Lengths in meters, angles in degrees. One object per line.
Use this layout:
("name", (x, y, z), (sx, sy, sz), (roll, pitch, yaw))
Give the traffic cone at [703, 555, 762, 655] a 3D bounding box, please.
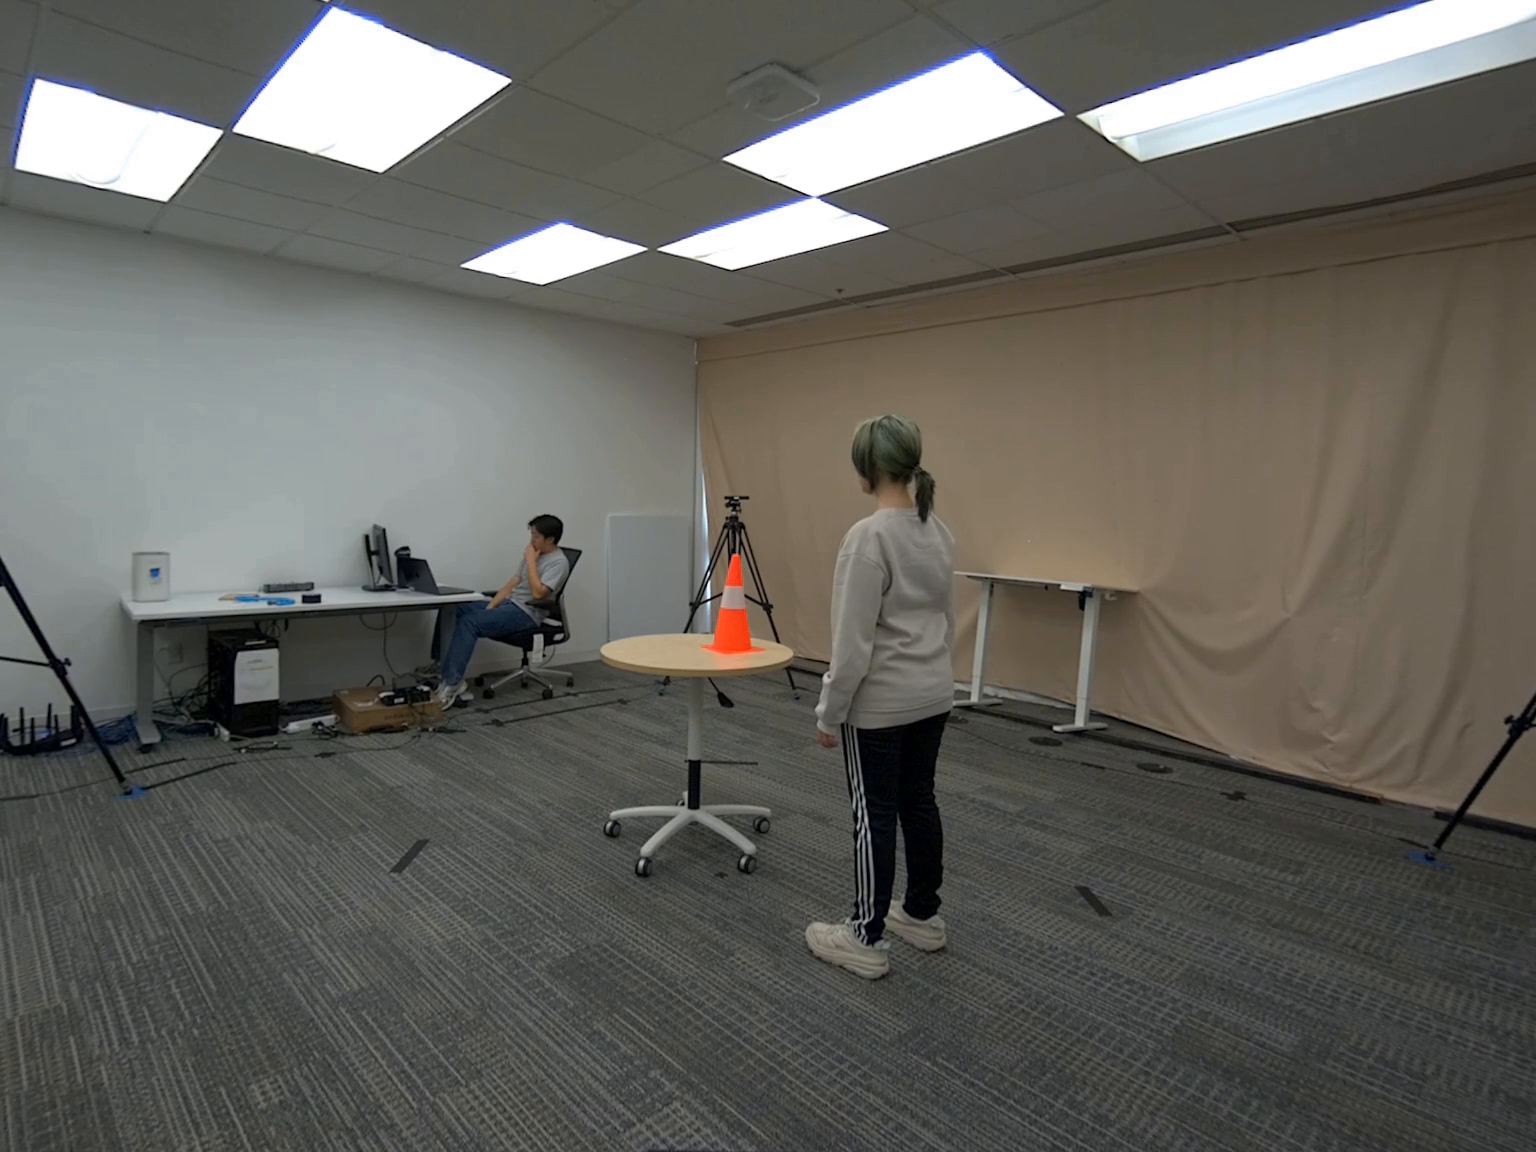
("traffic cone", (-0.140, 0.107, 3.390), (0.200, 0.383, 0.208), (0, 4, -42))
